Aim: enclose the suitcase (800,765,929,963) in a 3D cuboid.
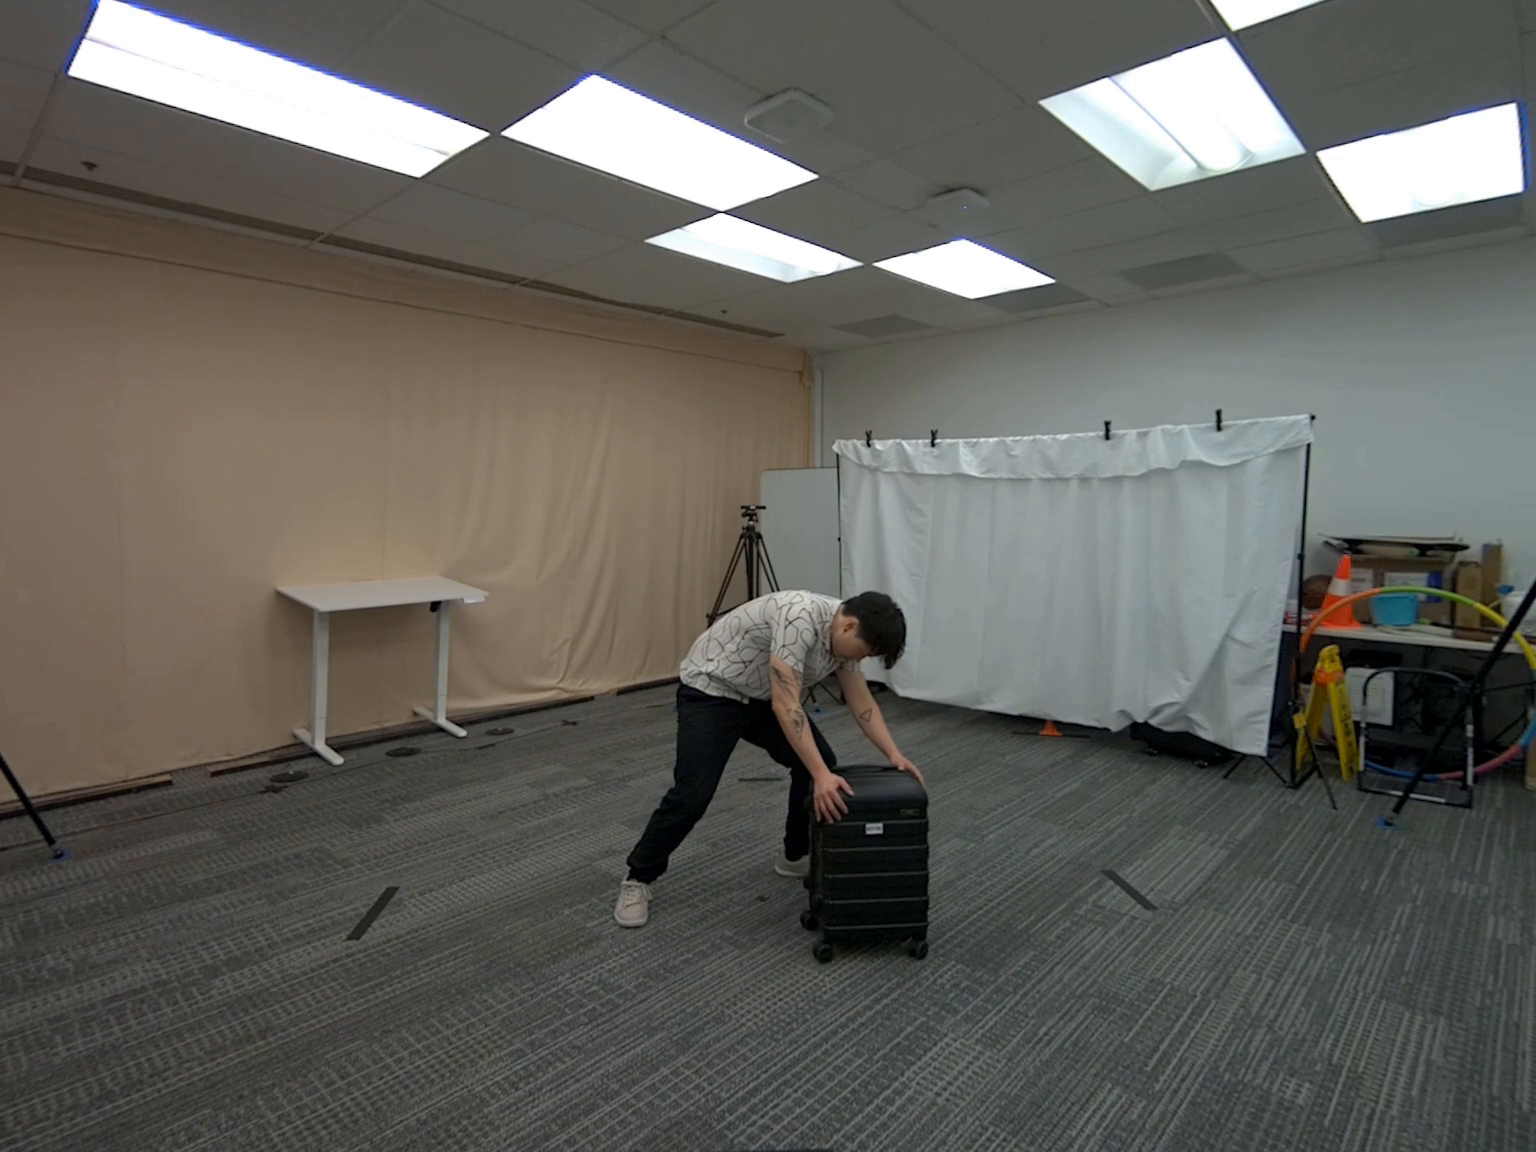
[{"bbox_3d":[0.329,0.893,2.680,0.372,0.549,0.250,1,2,-8],"label":"suitcase"}]
